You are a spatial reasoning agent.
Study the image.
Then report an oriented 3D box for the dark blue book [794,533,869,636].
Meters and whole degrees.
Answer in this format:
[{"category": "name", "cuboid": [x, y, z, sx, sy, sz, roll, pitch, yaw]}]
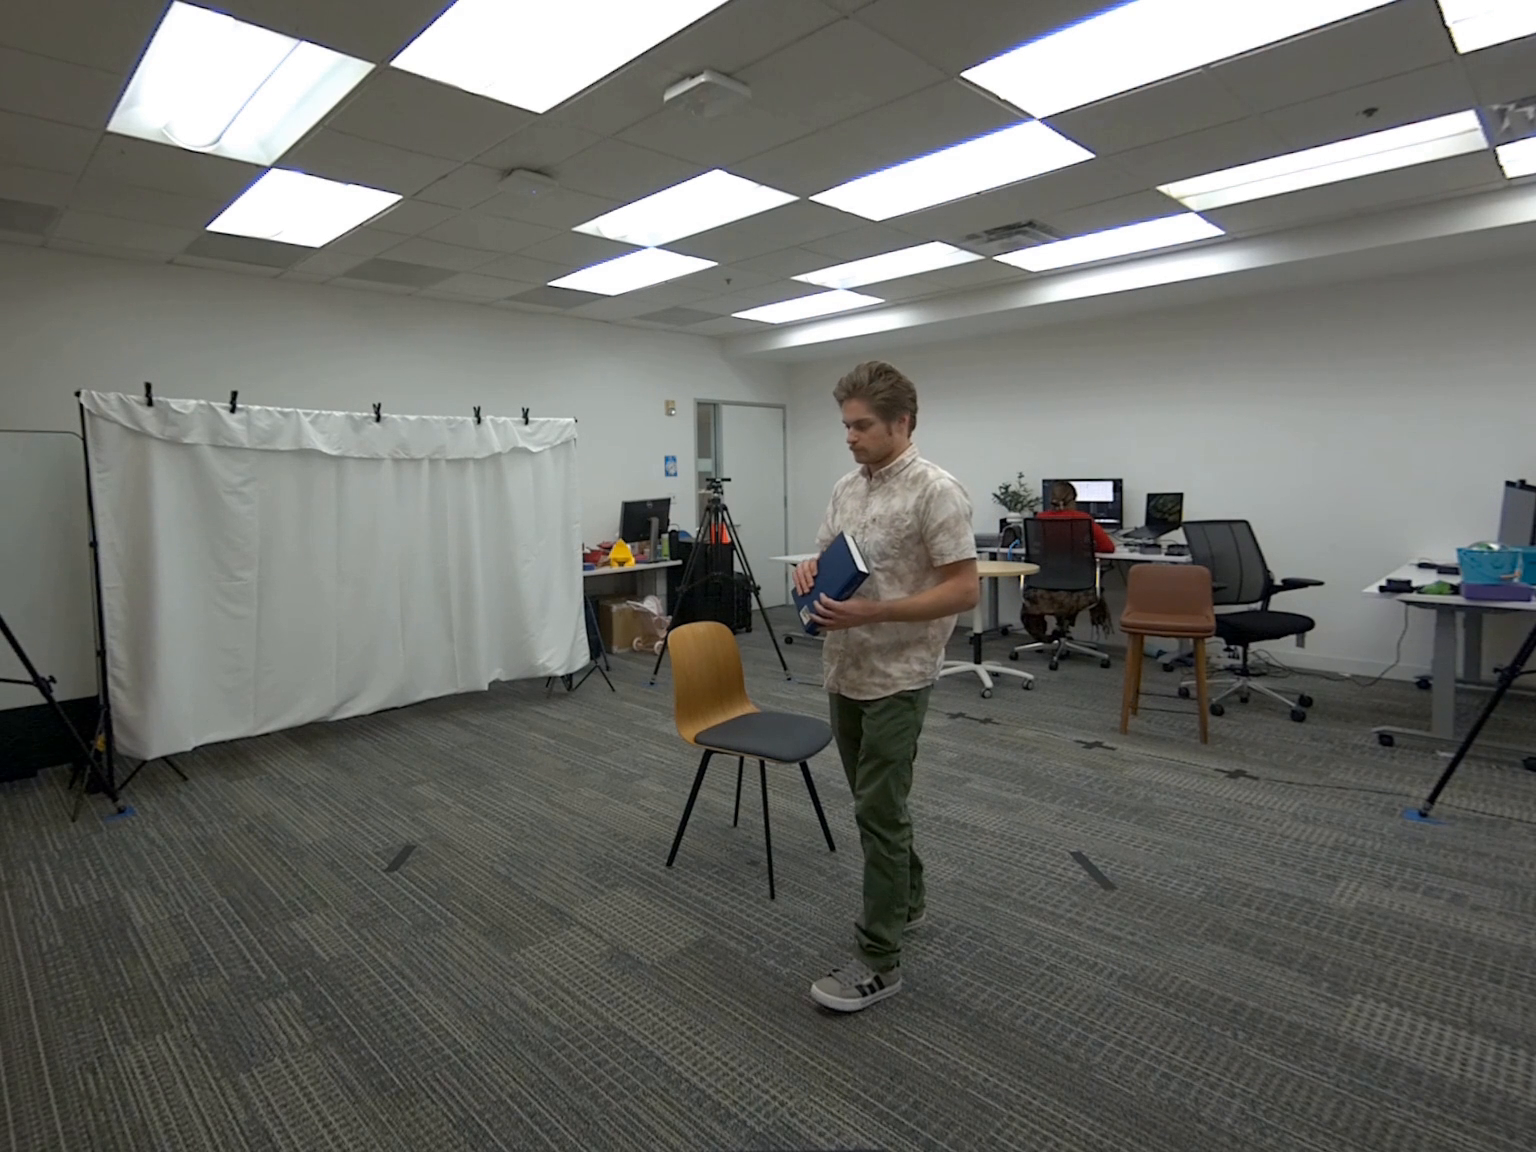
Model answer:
[{"category": "dark blue book", "cuboid": [0.171, 0.020, 2.289, 0.044, 0.244, 0.169, 19, 33, -28]}]
